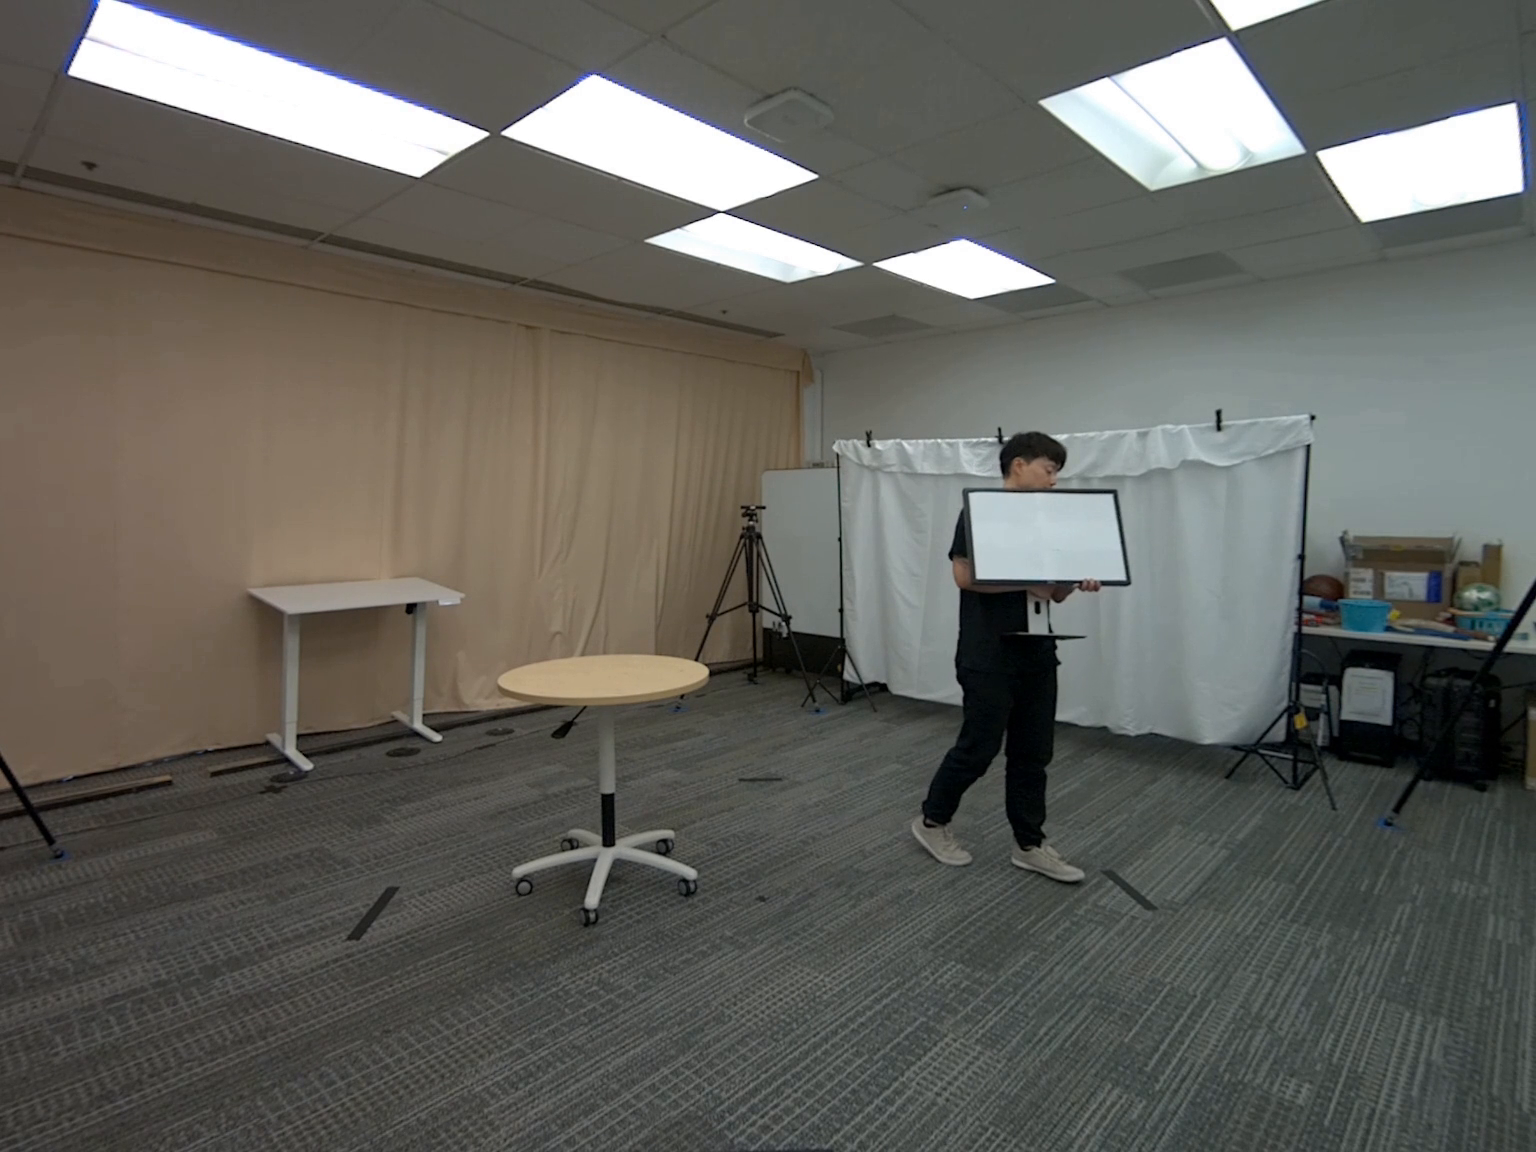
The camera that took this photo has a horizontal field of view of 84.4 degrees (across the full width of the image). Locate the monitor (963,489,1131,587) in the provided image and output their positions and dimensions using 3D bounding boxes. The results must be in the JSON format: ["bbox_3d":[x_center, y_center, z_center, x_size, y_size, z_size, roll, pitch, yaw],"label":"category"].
[{"bbox_3d":[1.003,-0.037,3.036,0.538,0.525,0.186,1,-7,-2],"label":"monitor"}]
